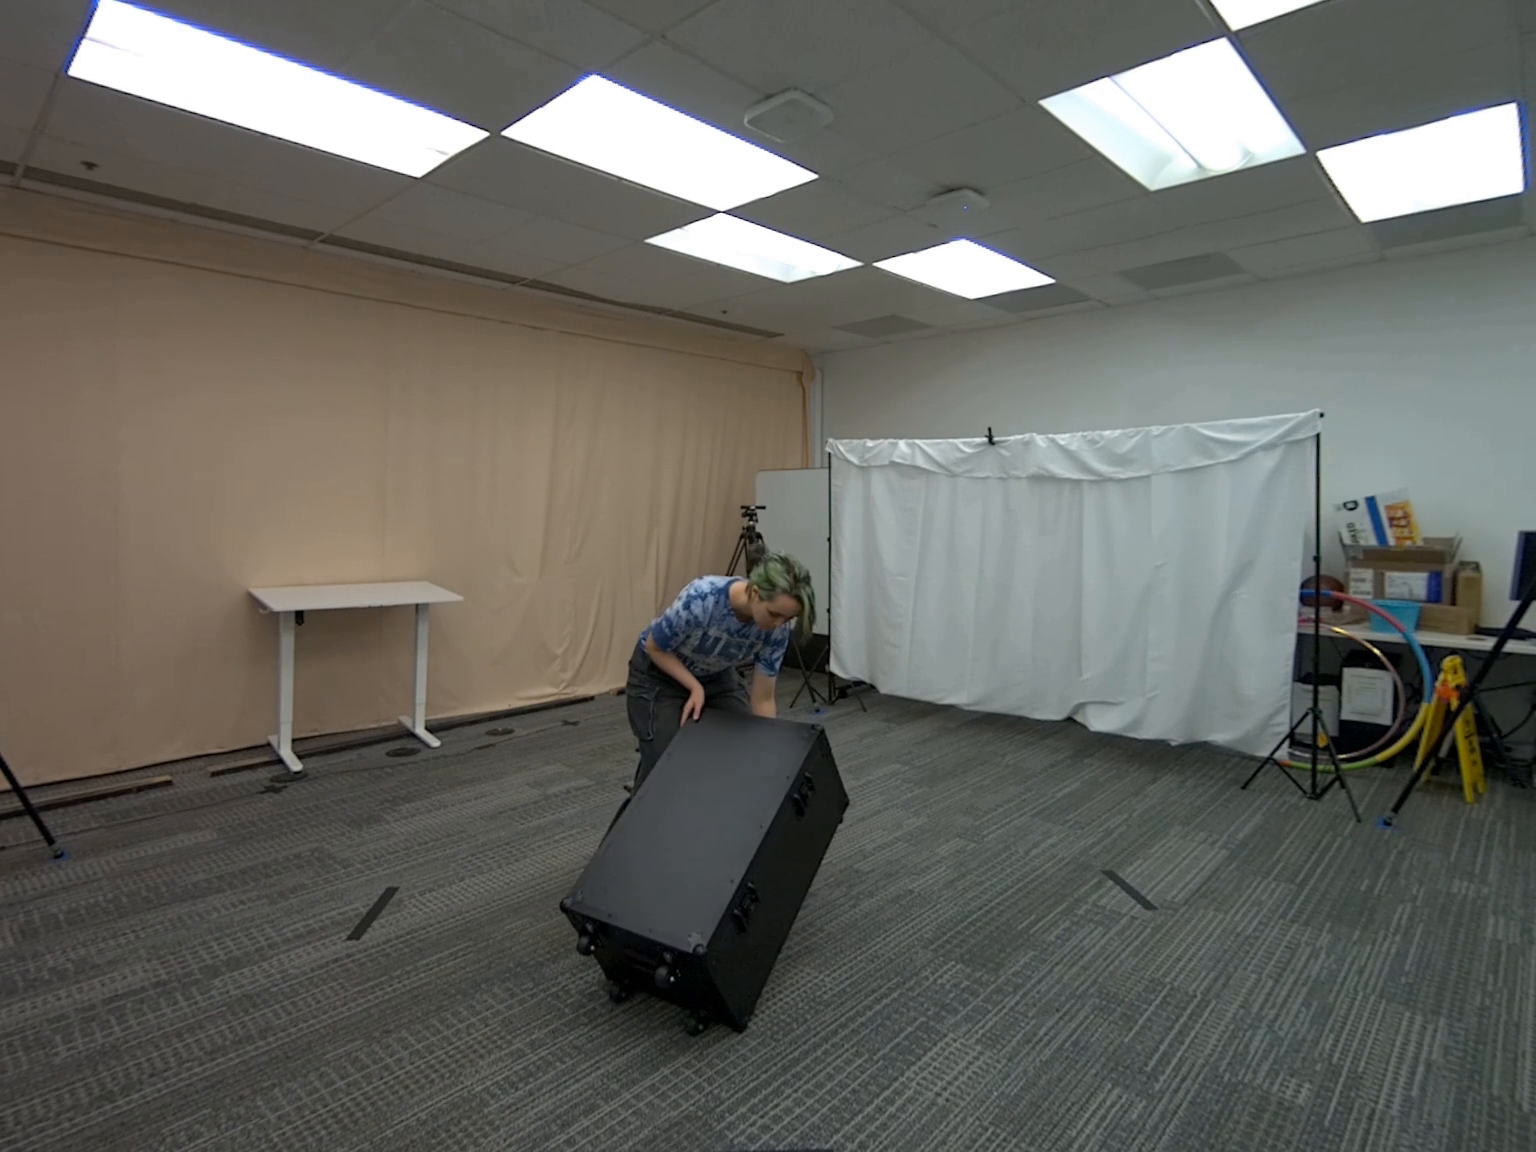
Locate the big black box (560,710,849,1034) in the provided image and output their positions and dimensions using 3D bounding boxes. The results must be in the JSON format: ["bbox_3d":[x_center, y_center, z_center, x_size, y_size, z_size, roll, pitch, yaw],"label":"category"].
[{"bbox_3d":[-0.157,0.851,2.513,0.537,0.386,0.857,2,37,32],"label":"big black box"}]
